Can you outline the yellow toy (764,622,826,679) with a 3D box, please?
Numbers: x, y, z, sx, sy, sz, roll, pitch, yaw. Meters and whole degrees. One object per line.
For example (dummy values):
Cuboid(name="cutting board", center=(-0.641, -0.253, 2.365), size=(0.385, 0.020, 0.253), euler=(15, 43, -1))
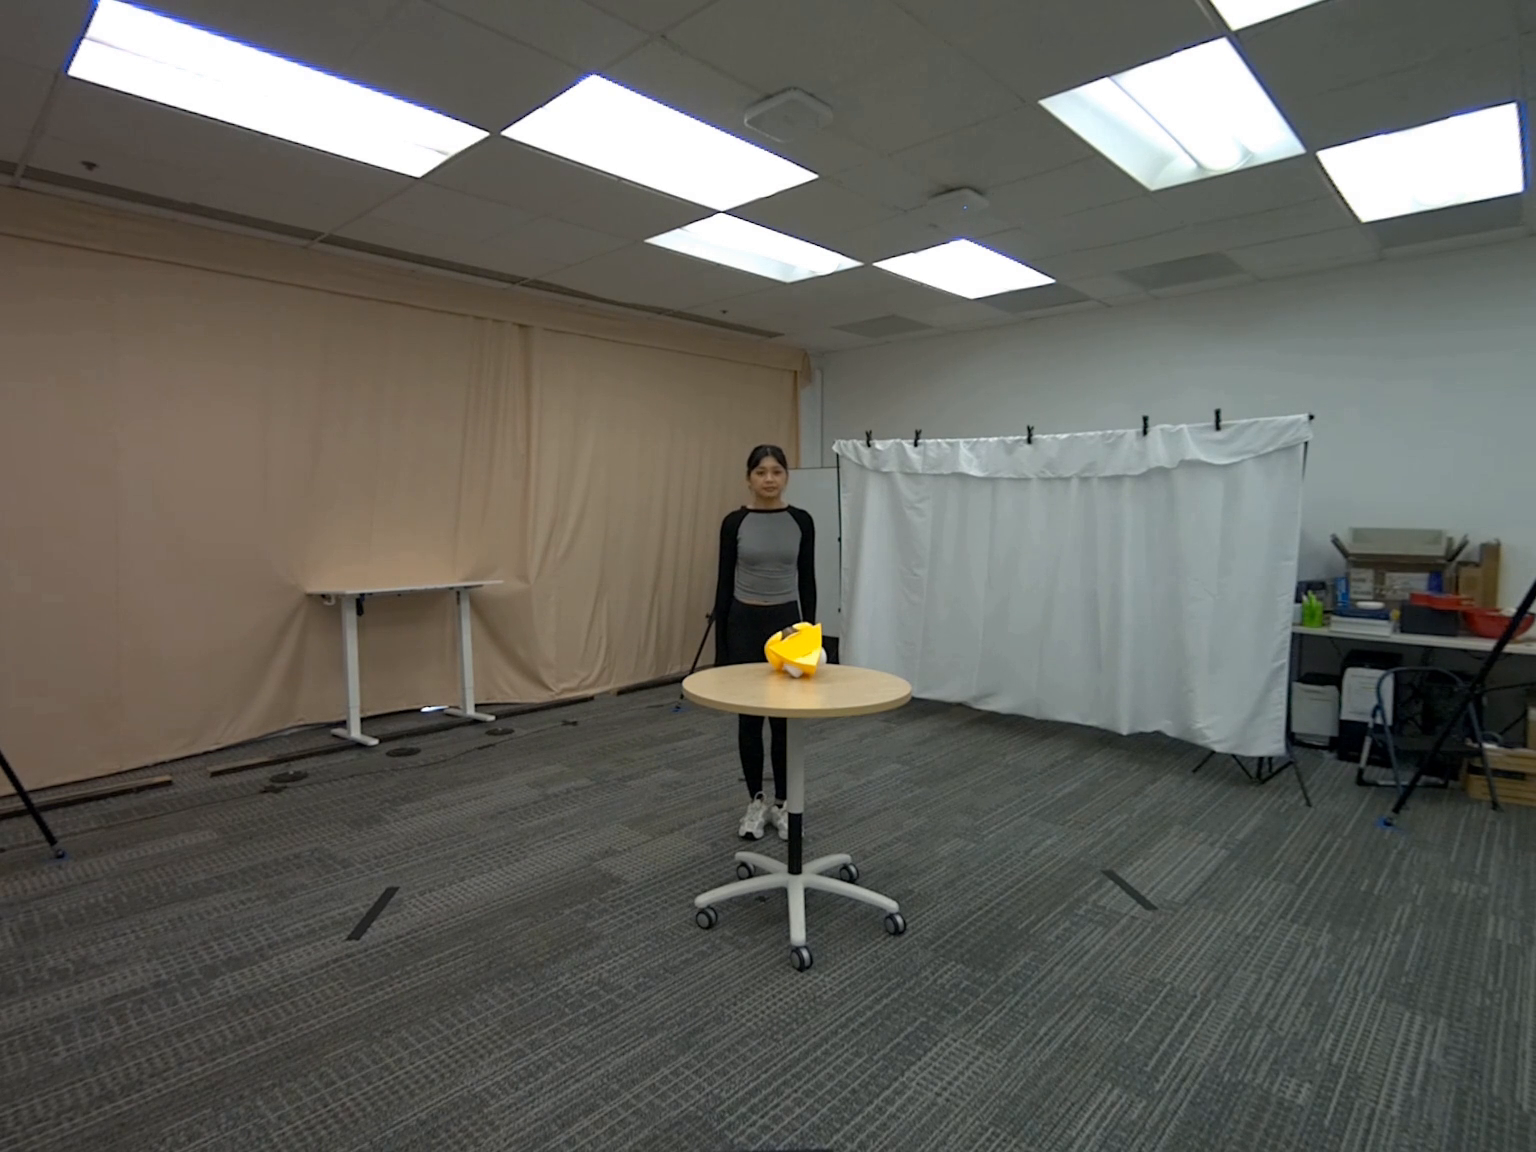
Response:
Cuboid(name="yellow toy", center=(0.120, 0.296, 2.954), size=(0.203, 0.188, 0.238), euler=(-25, 34, -11))
